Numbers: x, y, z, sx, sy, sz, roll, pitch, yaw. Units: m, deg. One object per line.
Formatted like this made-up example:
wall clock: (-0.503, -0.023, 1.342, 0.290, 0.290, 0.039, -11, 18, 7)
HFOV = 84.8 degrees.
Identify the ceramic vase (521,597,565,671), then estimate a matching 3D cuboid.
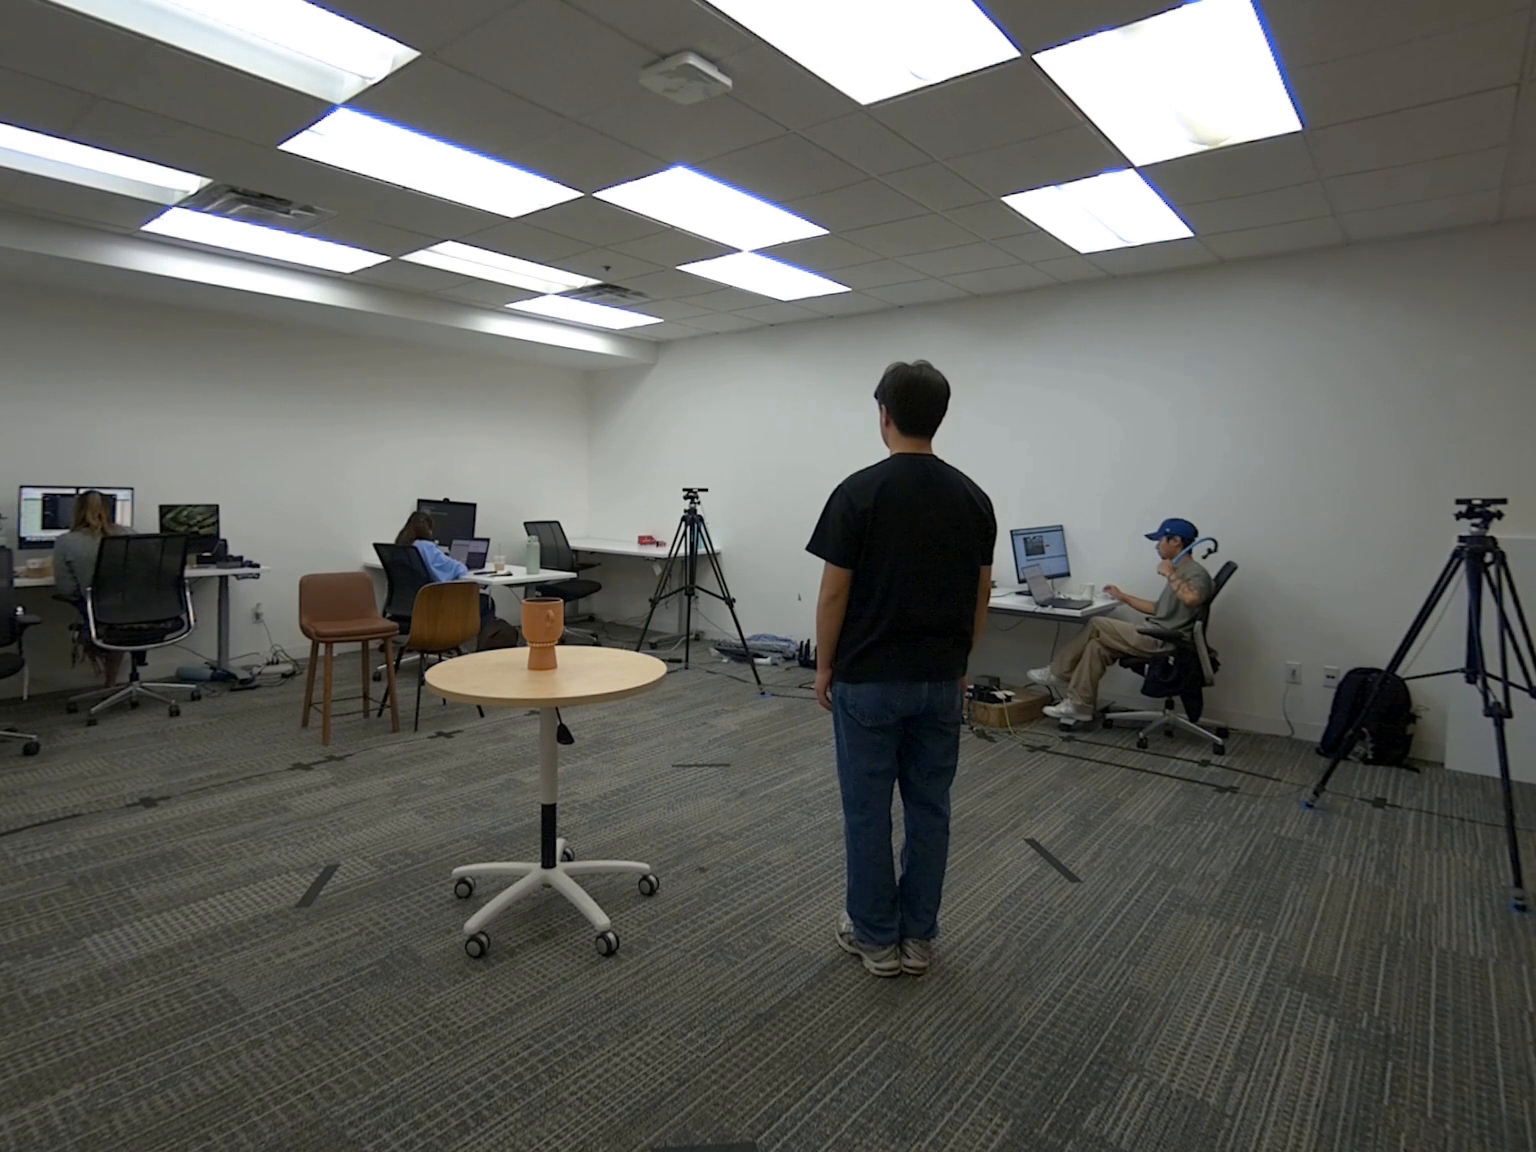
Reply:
ceramic vase: (-0.752, 0.190, 2.771, 0.136, 0.219, 0.158, 1, 5, 6)
